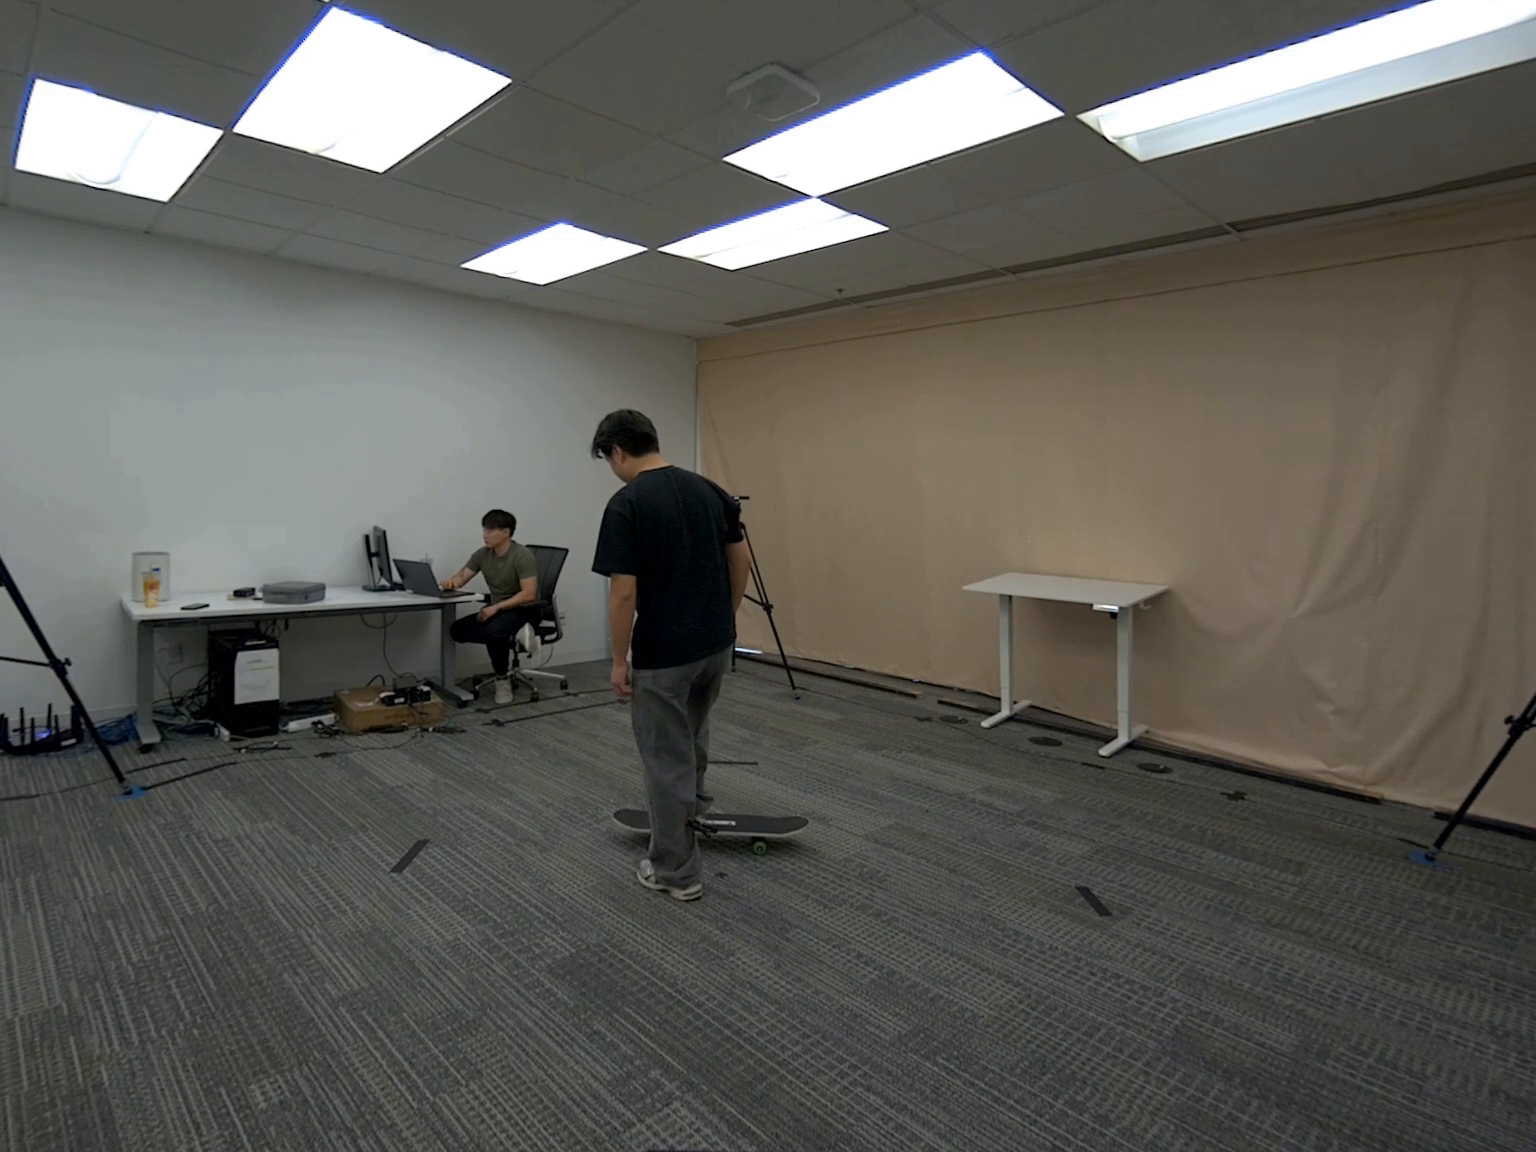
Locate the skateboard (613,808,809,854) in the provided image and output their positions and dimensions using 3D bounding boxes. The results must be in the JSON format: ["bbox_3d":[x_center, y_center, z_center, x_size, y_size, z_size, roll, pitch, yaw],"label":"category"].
[{"bbox_3d":[-0.237,1.021,3.374,0.788,0.110,0.193,1,4,4],"label":"skateboard"}]
